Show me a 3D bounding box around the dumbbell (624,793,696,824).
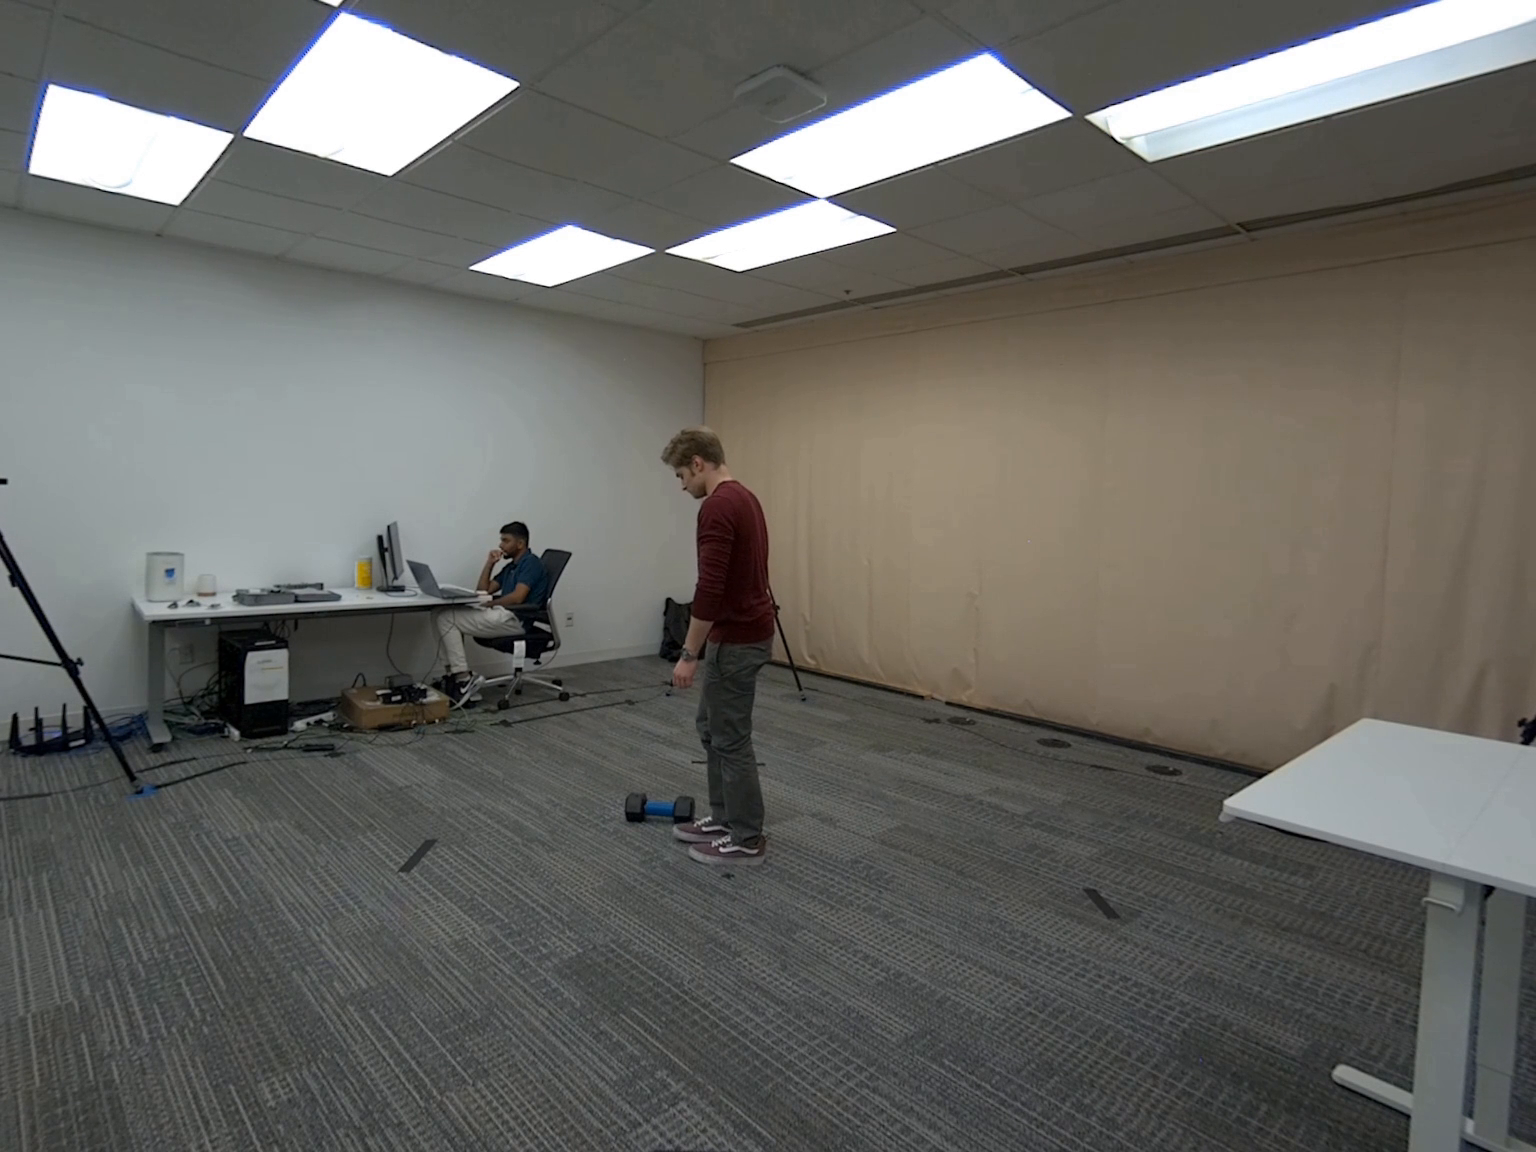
[{"bbox_3d":[-0.474,1.003,3.615,0.295,0.120,0.110,2,35,6],"label":"dumbbell"}]
